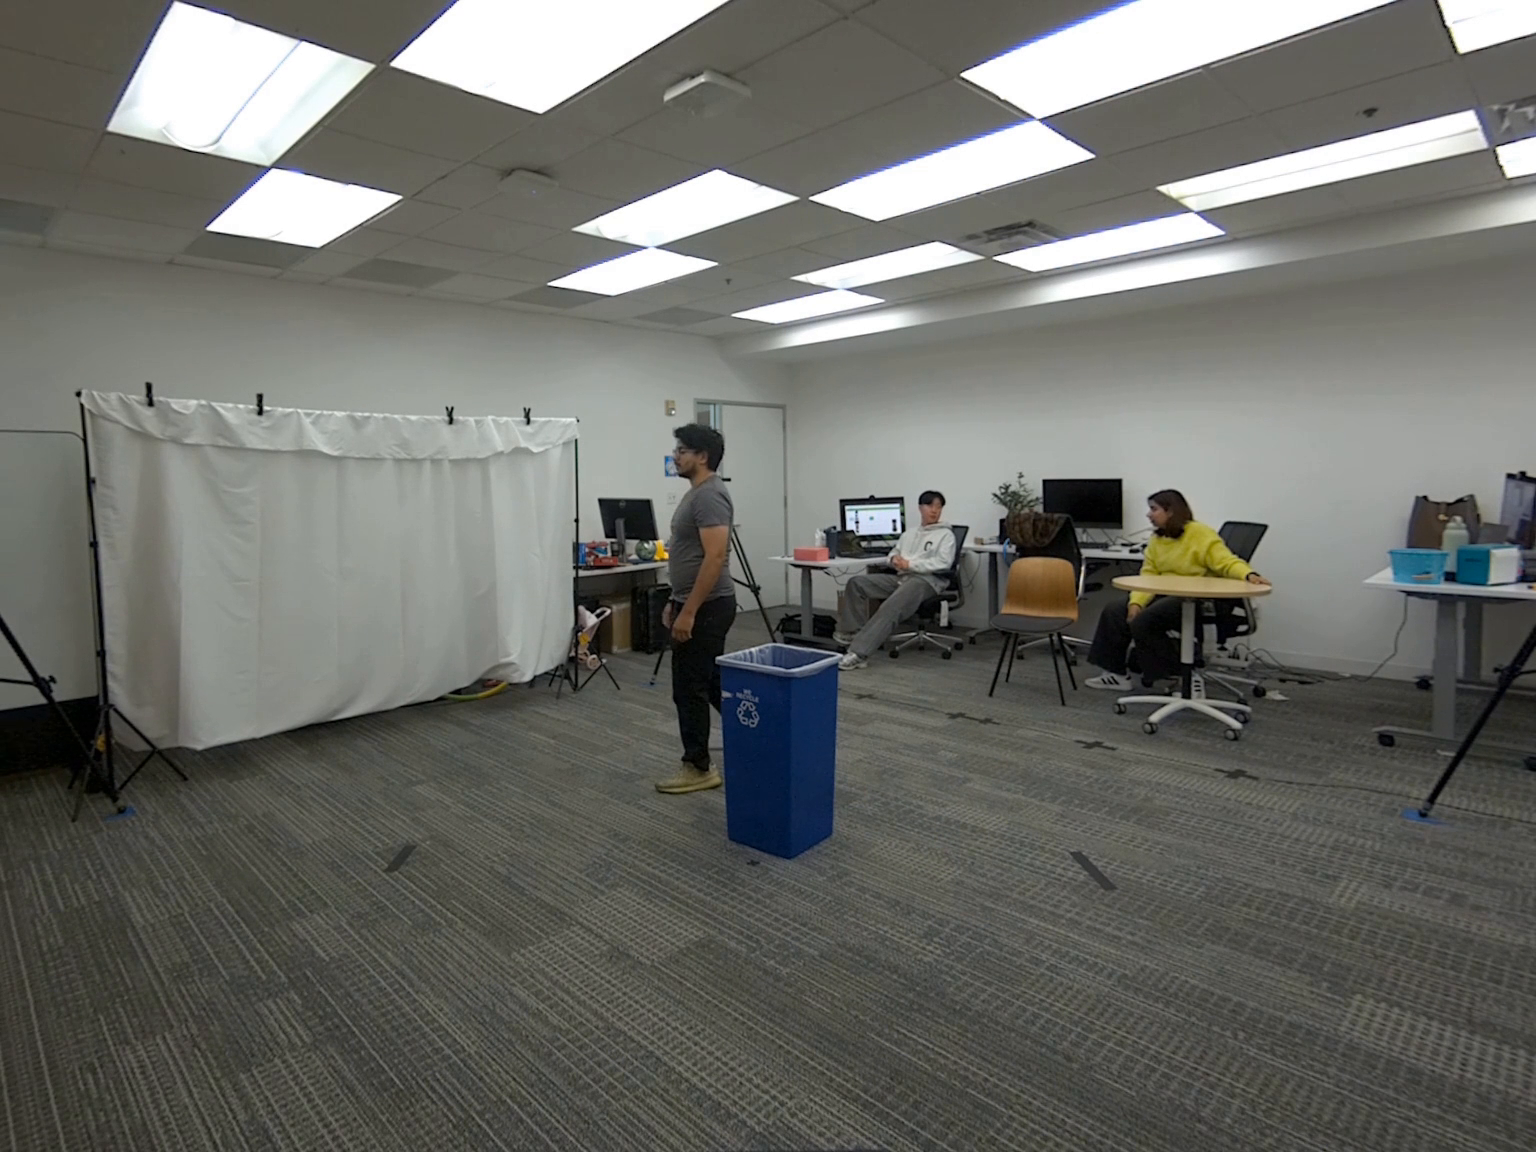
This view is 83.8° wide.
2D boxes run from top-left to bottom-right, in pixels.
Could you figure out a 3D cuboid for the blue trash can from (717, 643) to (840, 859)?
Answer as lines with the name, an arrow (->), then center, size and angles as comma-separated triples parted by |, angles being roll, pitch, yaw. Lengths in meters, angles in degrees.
blue trash can -> 0.056, 0.659, 3.303 | 0.385, 0.711, 0.368 | 3, 6, 39
